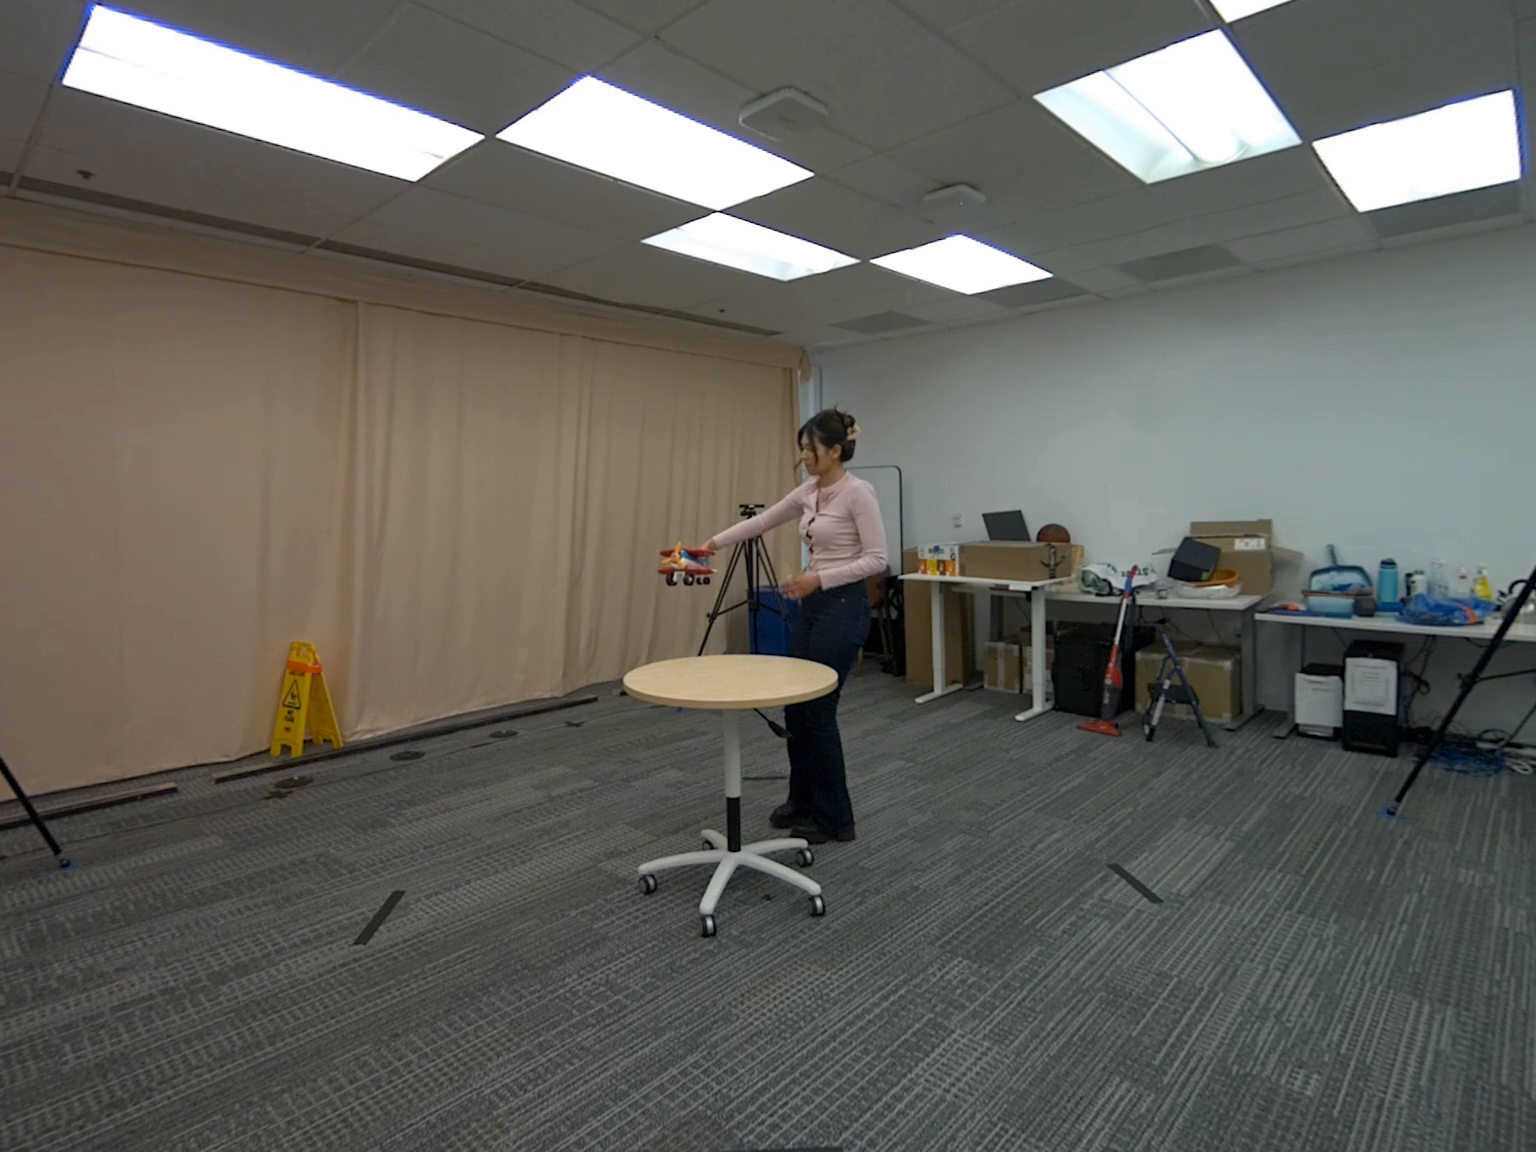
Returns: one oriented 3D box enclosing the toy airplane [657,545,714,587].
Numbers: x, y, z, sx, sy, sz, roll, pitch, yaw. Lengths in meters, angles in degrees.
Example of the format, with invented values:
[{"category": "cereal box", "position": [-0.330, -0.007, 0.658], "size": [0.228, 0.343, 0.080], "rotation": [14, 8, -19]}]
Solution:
[{"category": "toy airplane", "position": [-0.345, -0.036, 3.574], "size": [0.251, 0.156, 0.259], "rotation": [-3, 0, 0]}]
